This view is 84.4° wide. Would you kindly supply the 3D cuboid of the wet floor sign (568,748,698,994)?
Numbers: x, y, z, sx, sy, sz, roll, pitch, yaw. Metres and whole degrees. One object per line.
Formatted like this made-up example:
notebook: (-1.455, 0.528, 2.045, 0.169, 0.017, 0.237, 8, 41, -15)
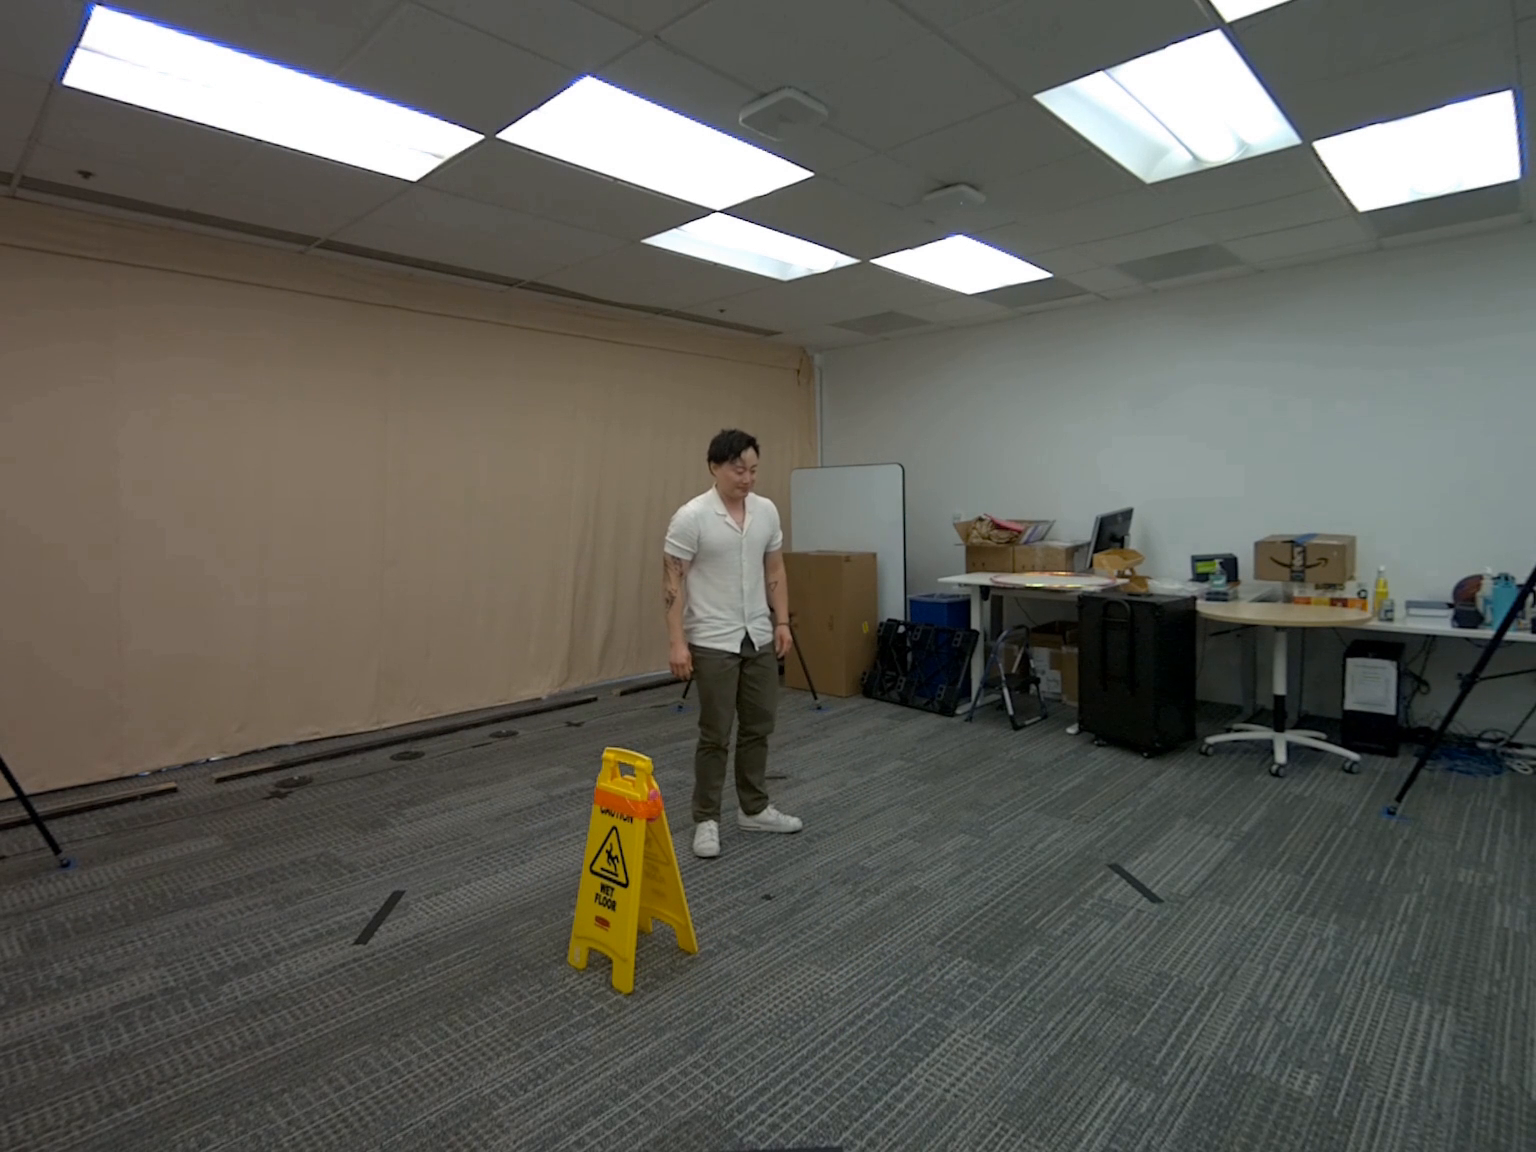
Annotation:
wet floor sign: (-0.426, 0.862, 2.578, 0.291, 0.644, 0.281, 1, 5, 41)
